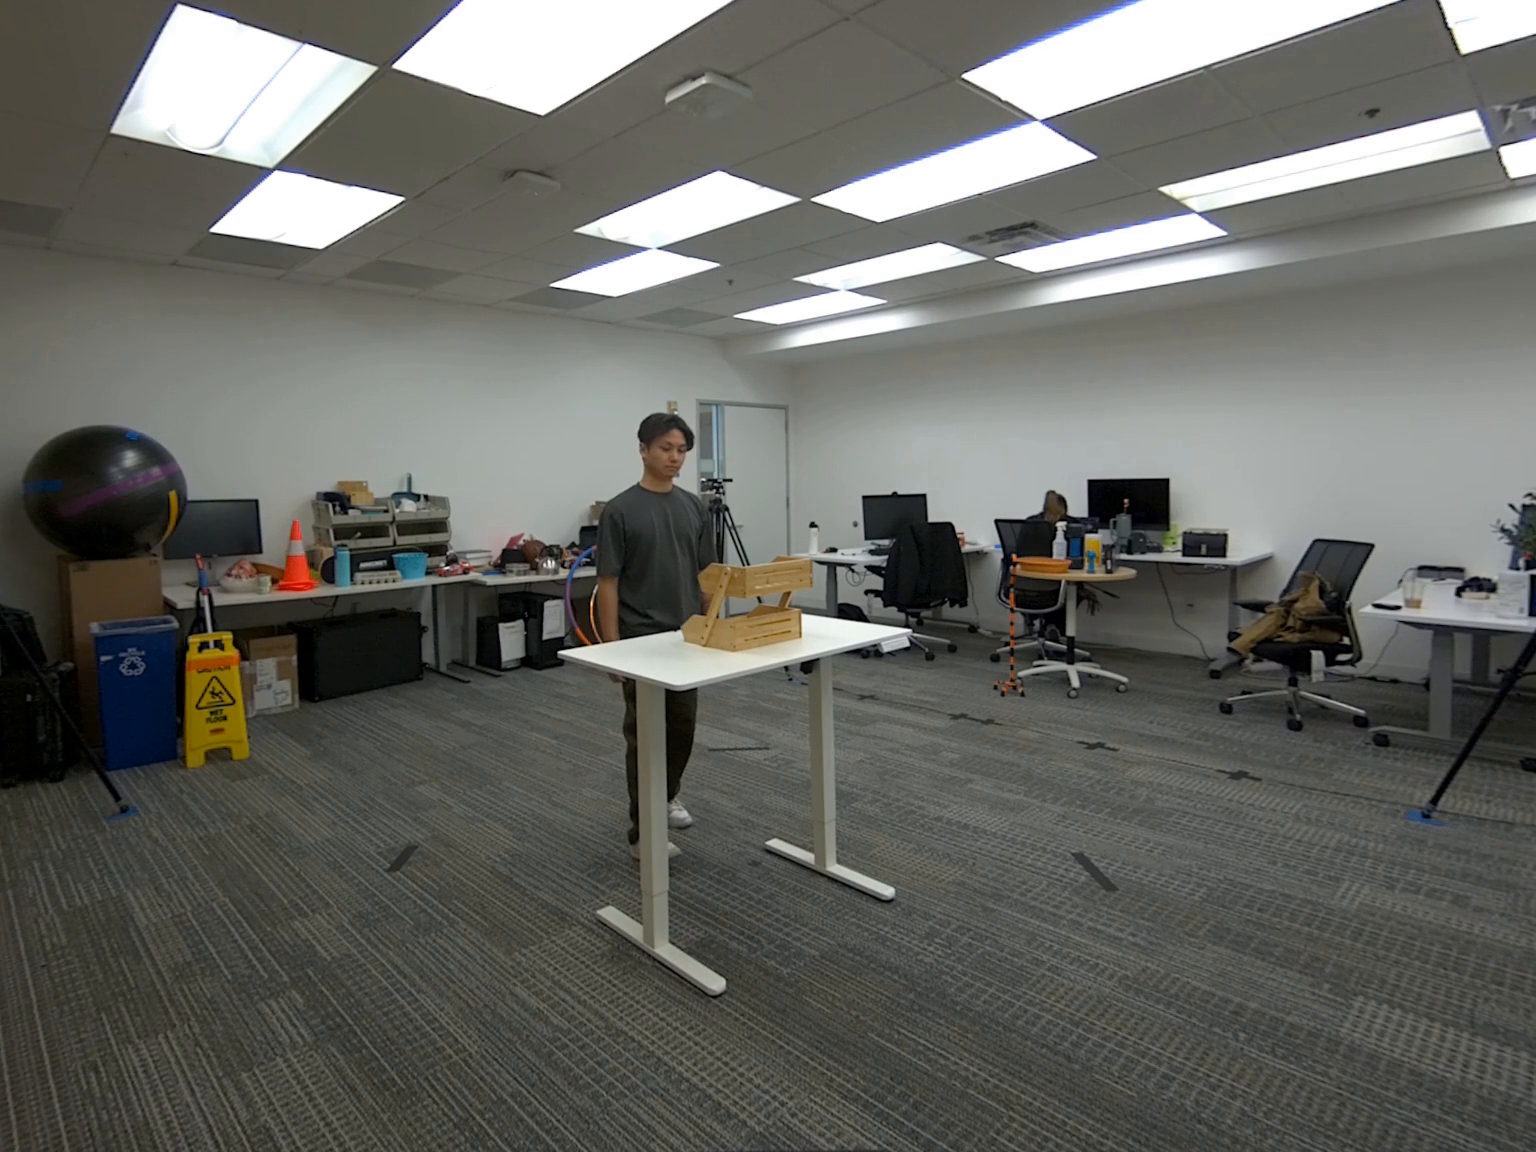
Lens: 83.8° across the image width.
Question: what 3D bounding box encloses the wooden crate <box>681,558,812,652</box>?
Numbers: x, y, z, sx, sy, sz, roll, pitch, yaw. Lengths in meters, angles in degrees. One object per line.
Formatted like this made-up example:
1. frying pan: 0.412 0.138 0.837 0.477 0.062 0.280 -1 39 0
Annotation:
1. wooden crate: -0.064 0.074 2.721 0.316 0.272 0.311 -7 9 -43
